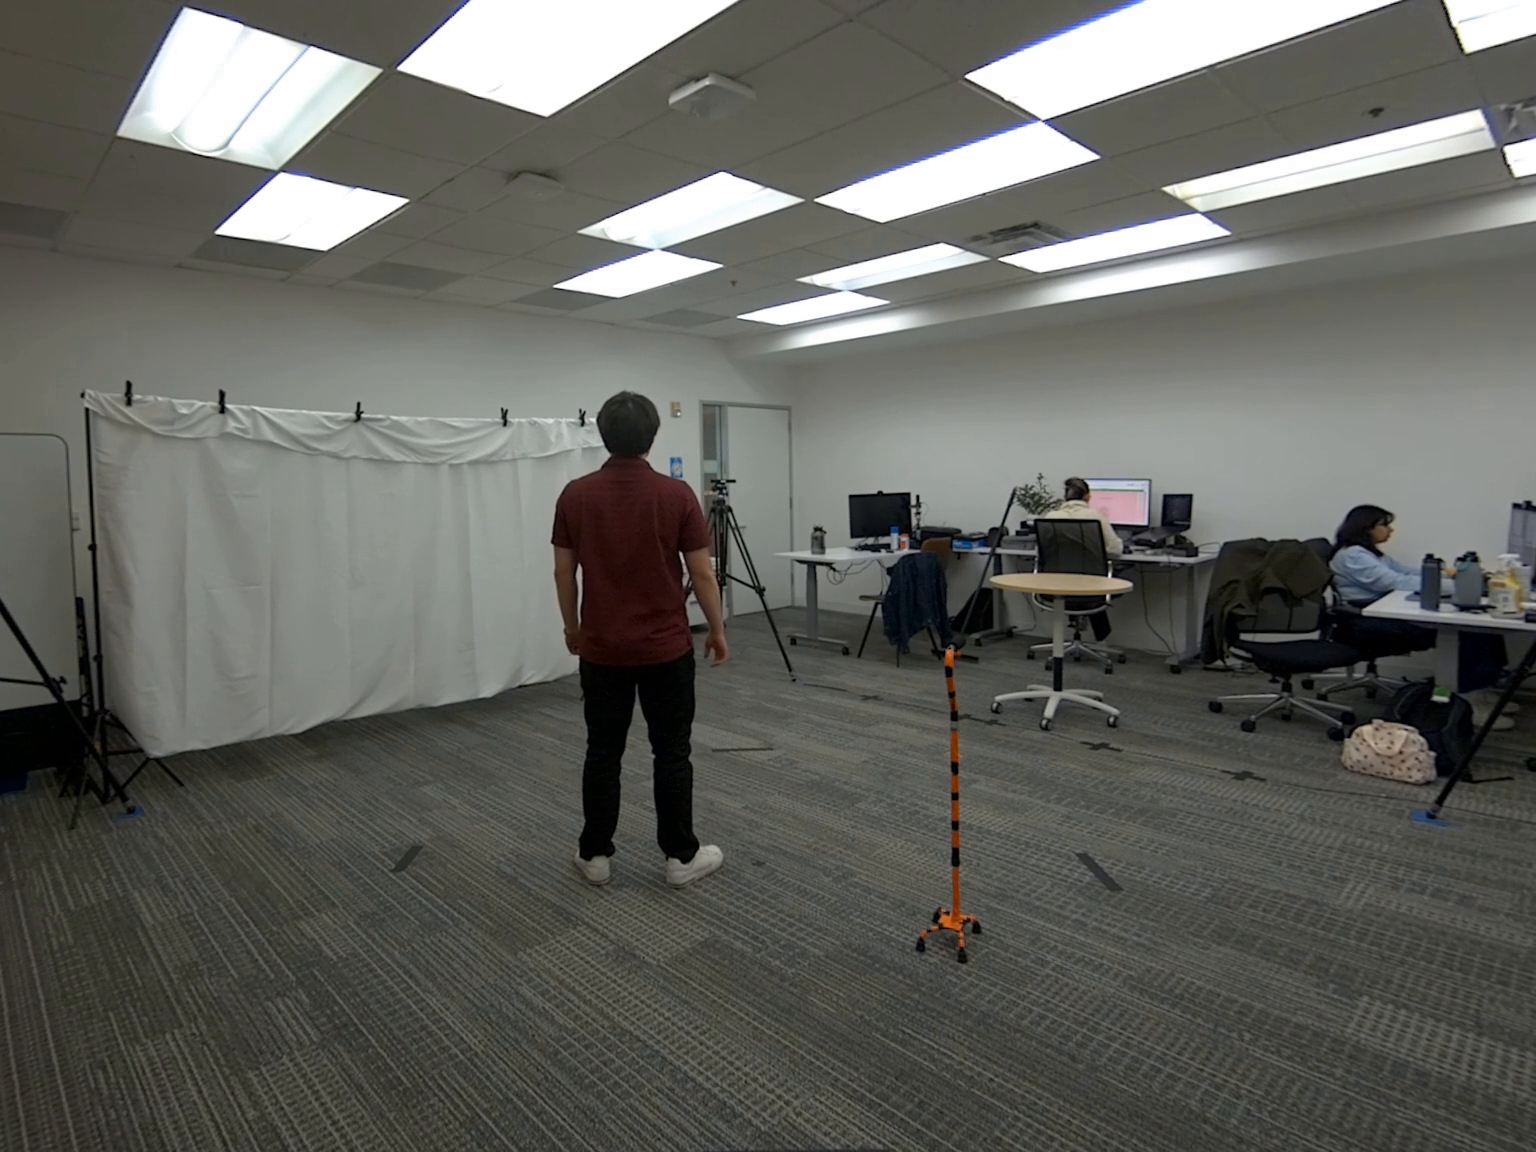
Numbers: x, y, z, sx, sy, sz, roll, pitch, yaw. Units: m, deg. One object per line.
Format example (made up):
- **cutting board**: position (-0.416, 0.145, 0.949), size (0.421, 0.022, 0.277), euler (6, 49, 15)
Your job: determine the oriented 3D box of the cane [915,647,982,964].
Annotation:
- **cane**: position (0.540, 0.649, 2.536), size (0.155, 0.904, 0.202), euler (2, 5, 26)
